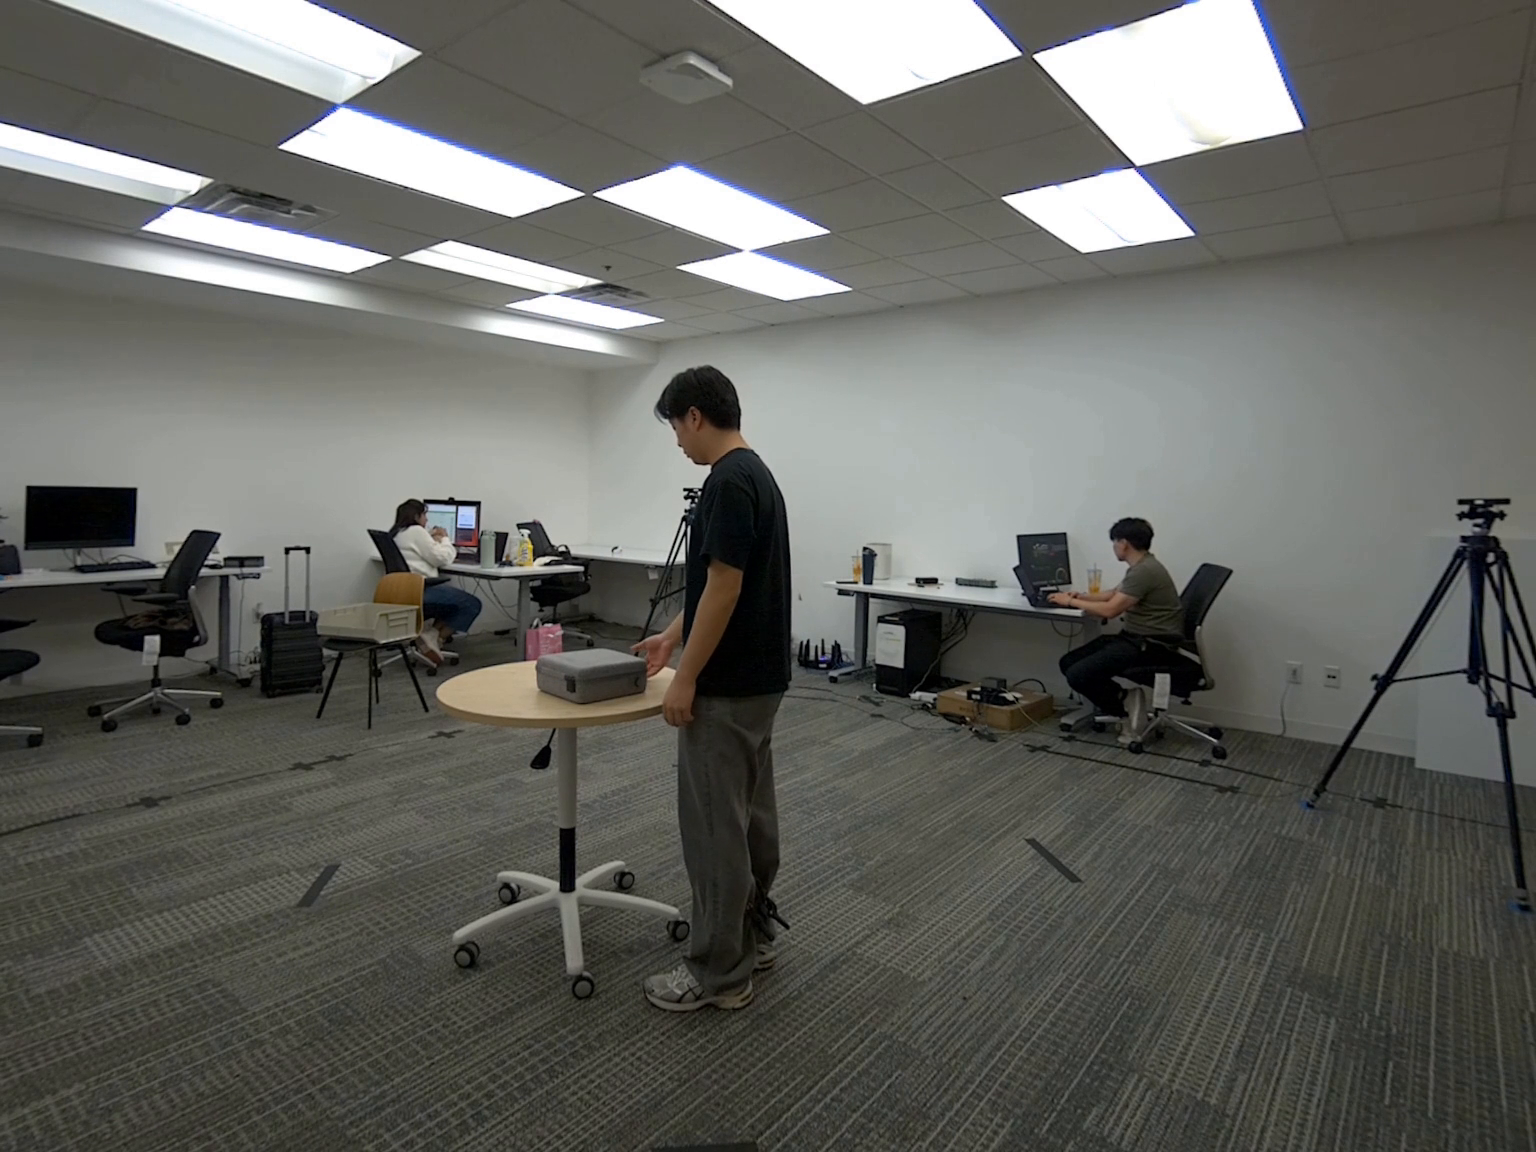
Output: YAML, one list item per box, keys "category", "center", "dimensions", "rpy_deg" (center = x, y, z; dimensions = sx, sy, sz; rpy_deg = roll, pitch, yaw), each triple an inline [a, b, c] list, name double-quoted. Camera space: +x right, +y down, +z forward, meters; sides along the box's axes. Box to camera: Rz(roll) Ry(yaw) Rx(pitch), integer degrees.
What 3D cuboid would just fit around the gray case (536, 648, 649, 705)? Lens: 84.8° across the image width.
- category: "gray case"
  center: [-0.525, 0.288, 2.530]
  dimensions: [0.278, 0.103, 0.272]
  rpy_deg: [-4, 7, -43]
